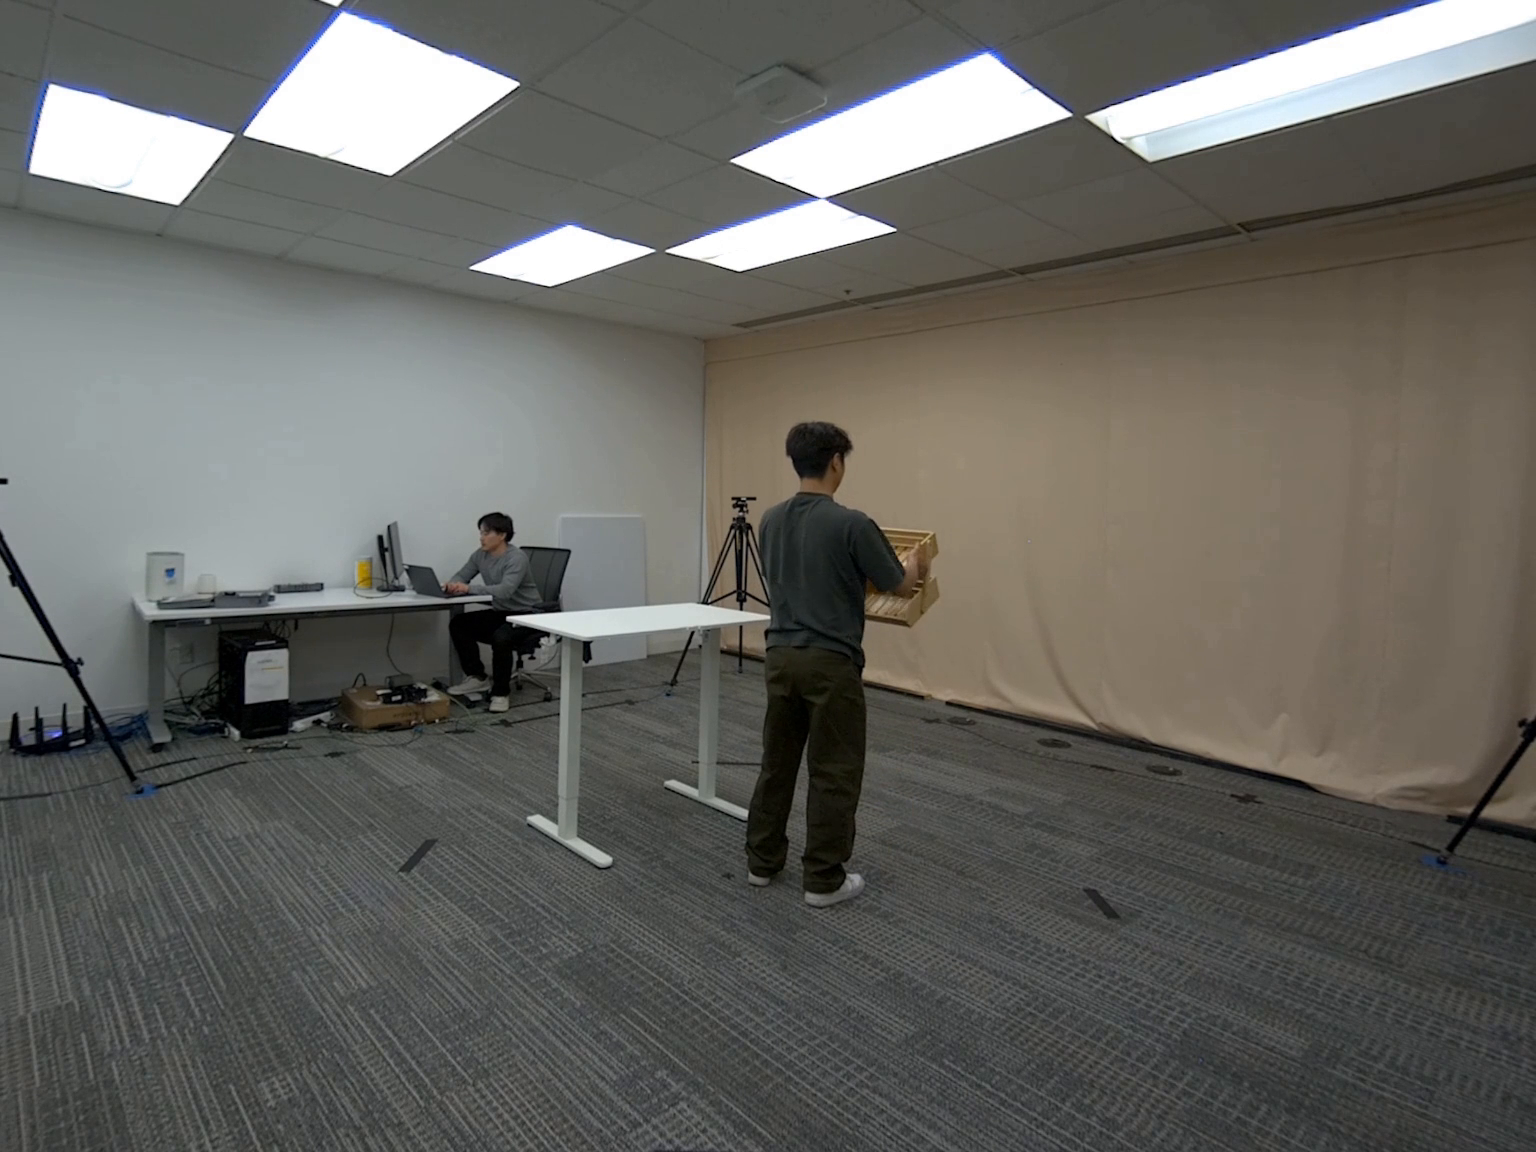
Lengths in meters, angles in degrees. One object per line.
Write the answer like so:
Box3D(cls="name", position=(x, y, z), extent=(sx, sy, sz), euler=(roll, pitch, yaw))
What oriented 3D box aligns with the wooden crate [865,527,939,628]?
Box3D(cls="wooden crate", position=(0.463, 0.000, 3.277), extent=(0.333, 0.268, 0.300), euler=(7, 33, 42))
